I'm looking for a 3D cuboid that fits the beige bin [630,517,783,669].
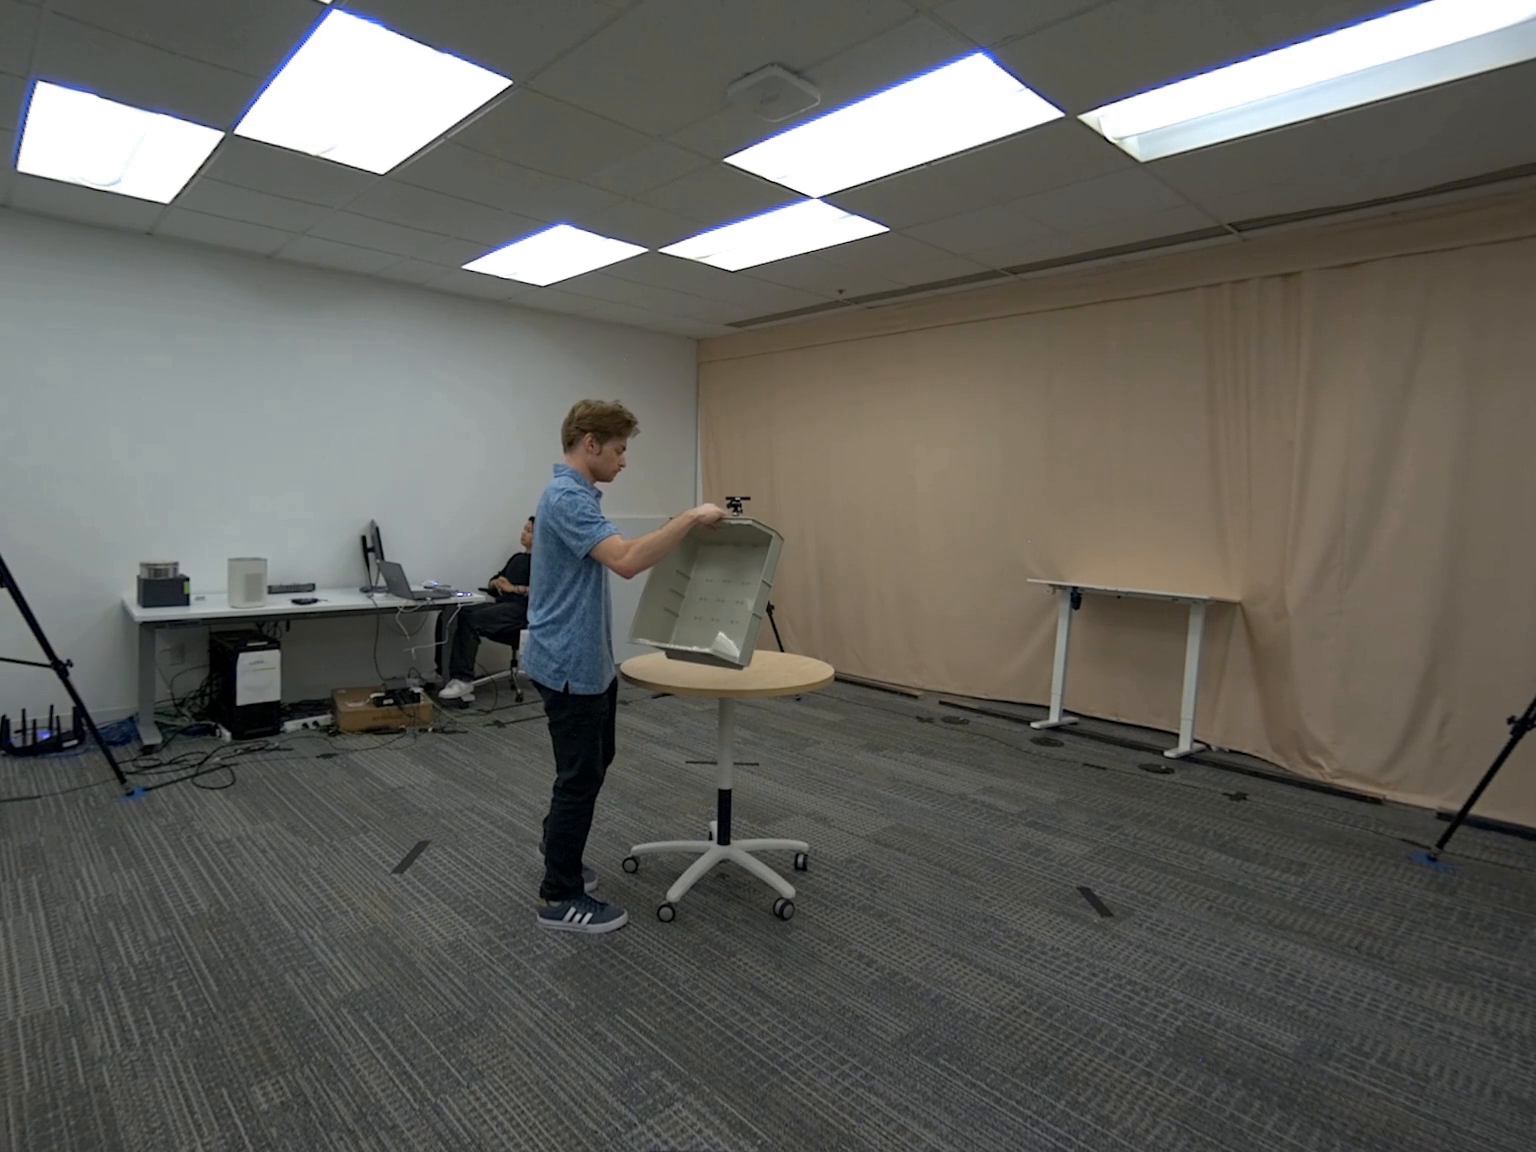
[{"bbox_3d":[-0.188,0.046,2.559,0.386,0.425,0.183,2,-22,41],"label":"beige bin"}]
